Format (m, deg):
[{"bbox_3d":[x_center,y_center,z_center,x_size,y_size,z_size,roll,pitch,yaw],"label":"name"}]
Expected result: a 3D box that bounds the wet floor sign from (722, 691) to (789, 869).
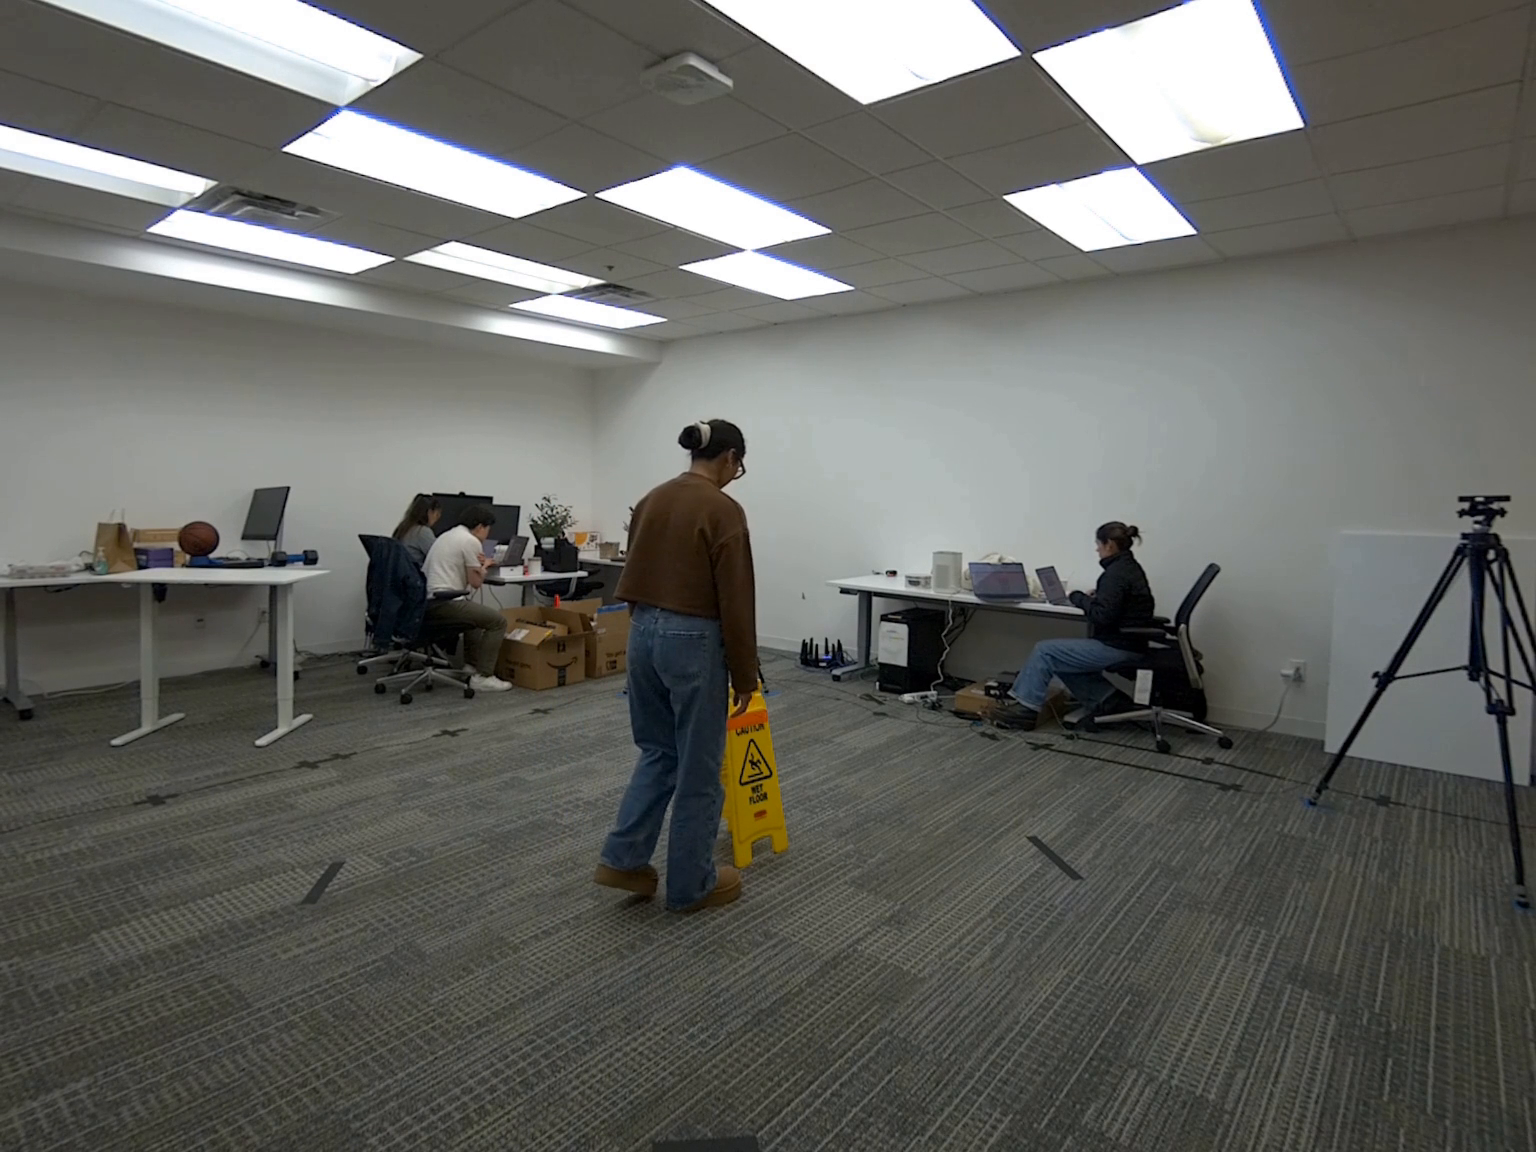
[{"bbox_3d":[-0.113,0.725,3.284,0.274,0.644,0.300,-2,6,-44],"label":"wet floor sign"}]
